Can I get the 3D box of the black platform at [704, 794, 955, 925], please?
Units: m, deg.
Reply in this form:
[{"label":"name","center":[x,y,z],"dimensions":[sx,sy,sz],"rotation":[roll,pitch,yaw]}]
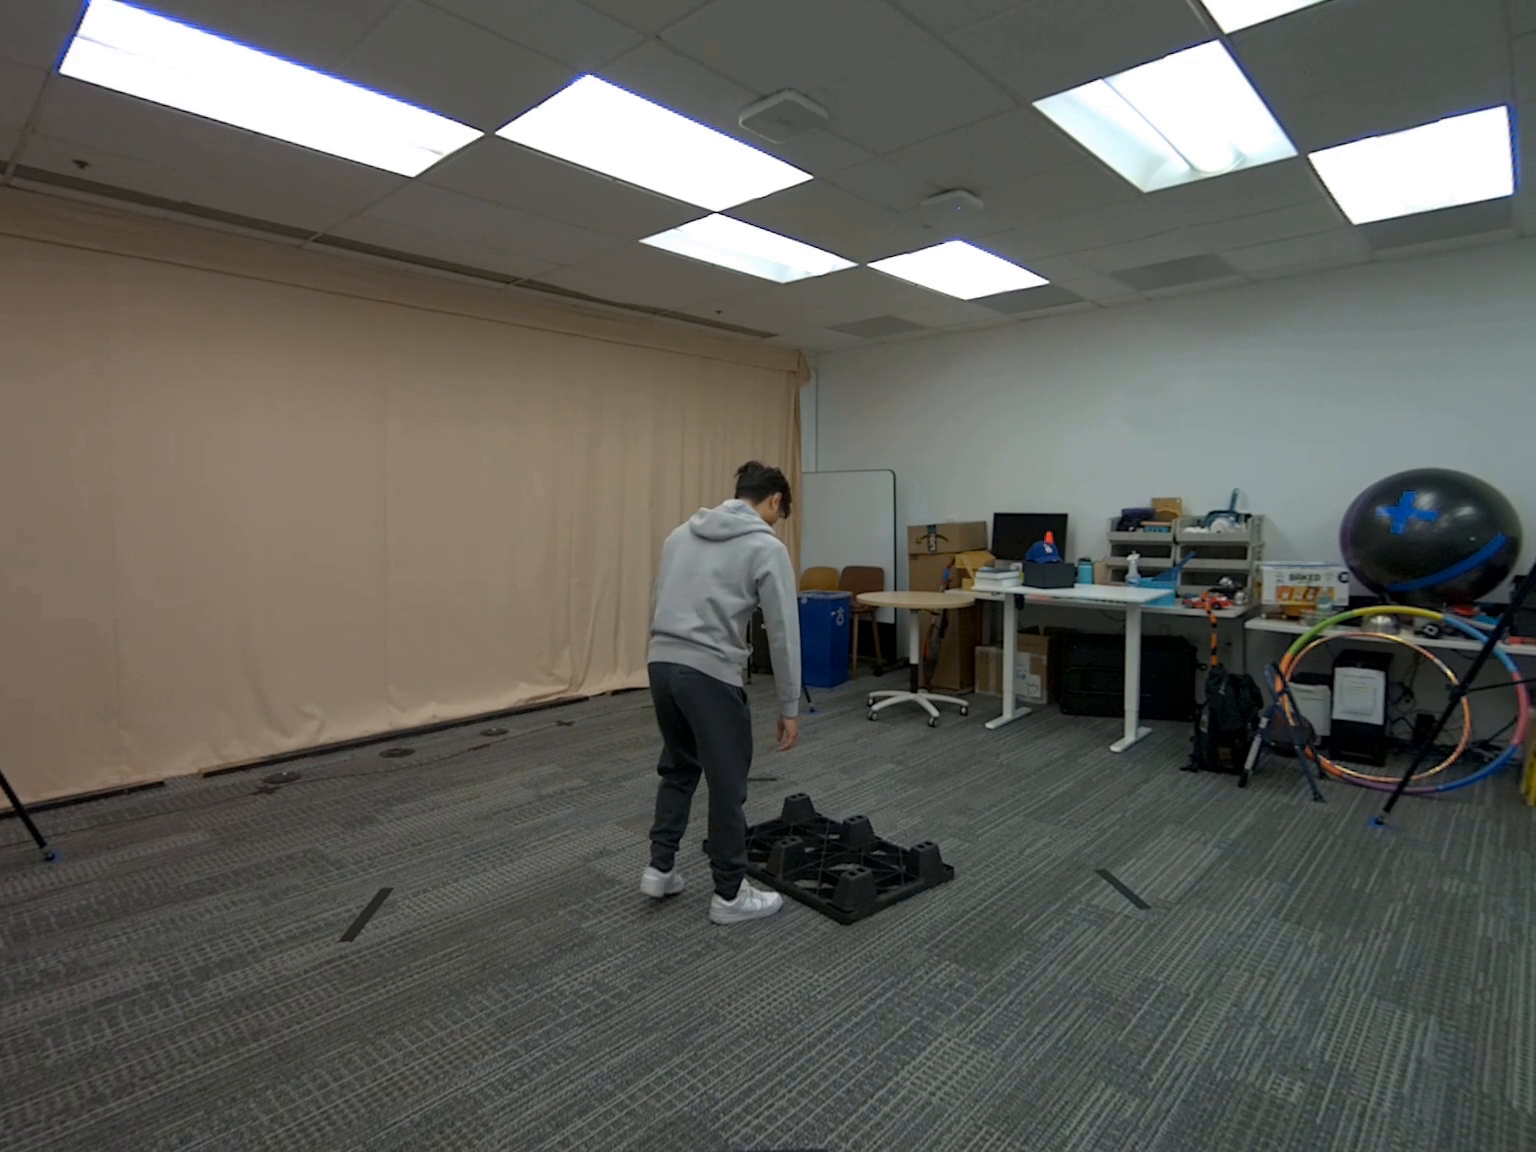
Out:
[{"label":"black platform","center":[0.225,1.053,3.276],"dimensions":[0.587,0.143,0.832],"rotation":[-5,7,-41]}]
